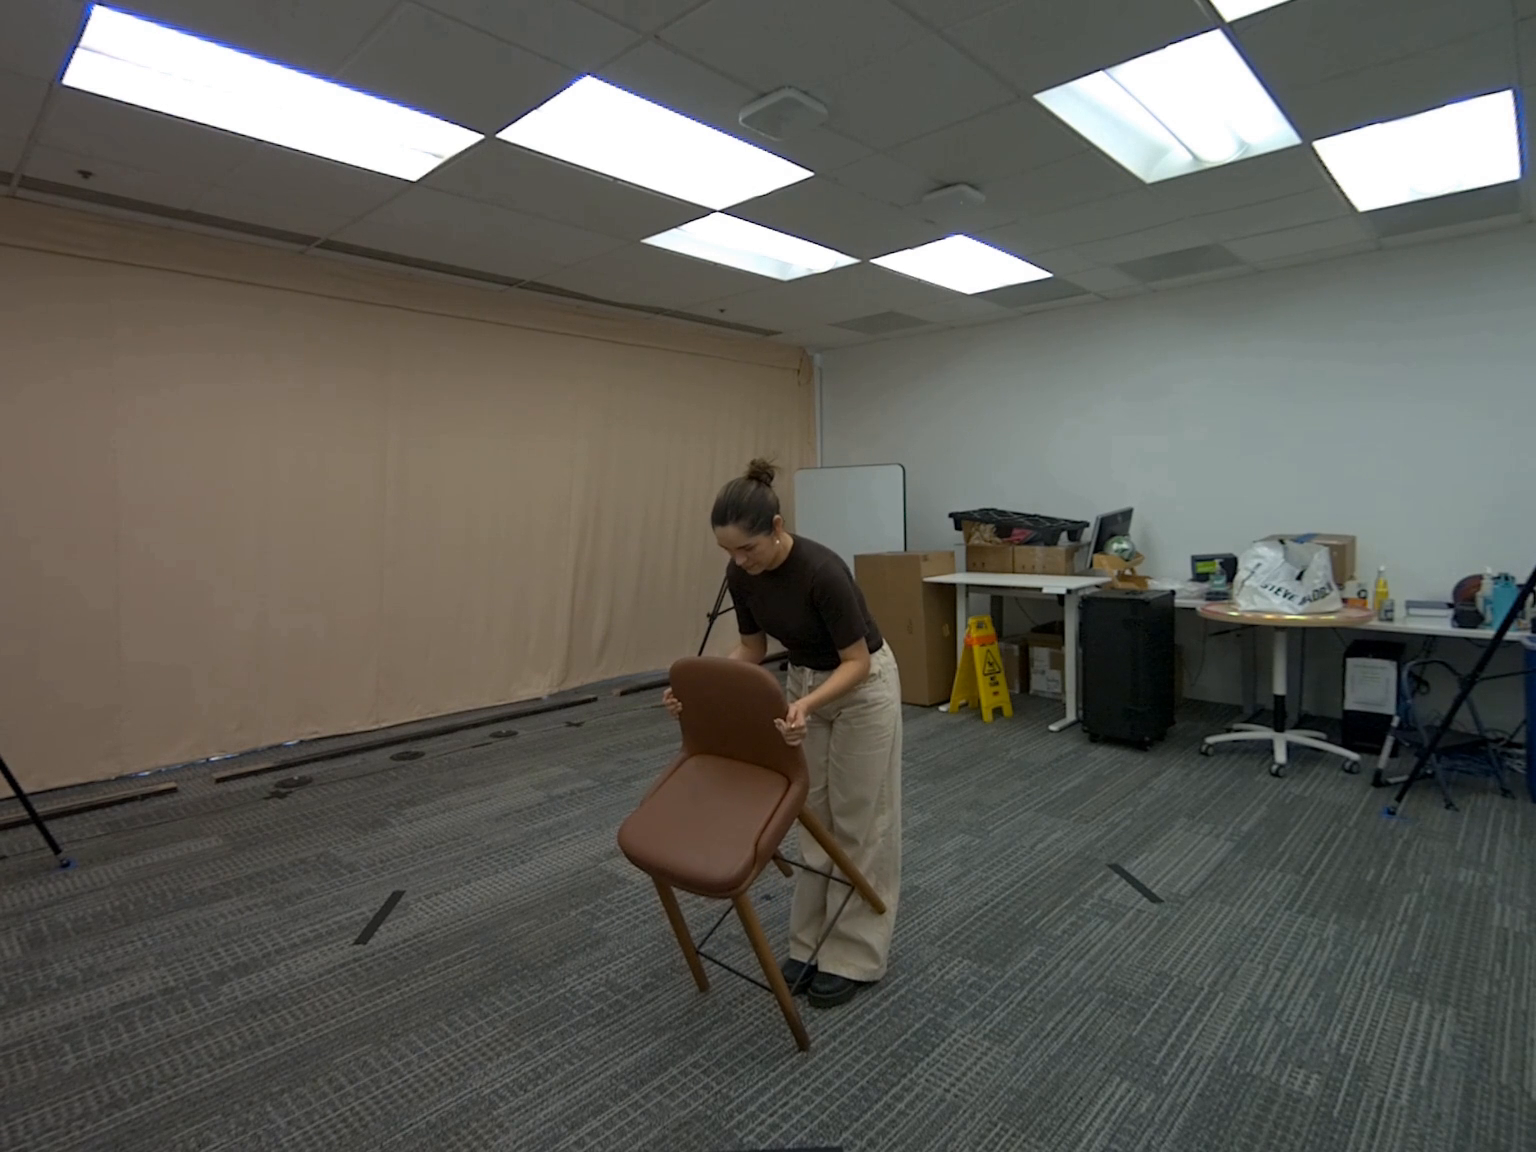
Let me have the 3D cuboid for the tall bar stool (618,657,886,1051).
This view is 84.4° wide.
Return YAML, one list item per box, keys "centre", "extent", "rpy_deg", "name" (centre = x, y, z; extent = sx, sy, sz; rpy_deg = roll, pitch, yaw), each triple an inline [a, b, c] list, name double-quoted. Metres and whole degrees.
- centre: [-0.080, 0.717, 2.229]
  extent: [0.472, 0.871, 0.462]
  rpy_deg: [3, 35, 45]
  name: "tall bar stool"
